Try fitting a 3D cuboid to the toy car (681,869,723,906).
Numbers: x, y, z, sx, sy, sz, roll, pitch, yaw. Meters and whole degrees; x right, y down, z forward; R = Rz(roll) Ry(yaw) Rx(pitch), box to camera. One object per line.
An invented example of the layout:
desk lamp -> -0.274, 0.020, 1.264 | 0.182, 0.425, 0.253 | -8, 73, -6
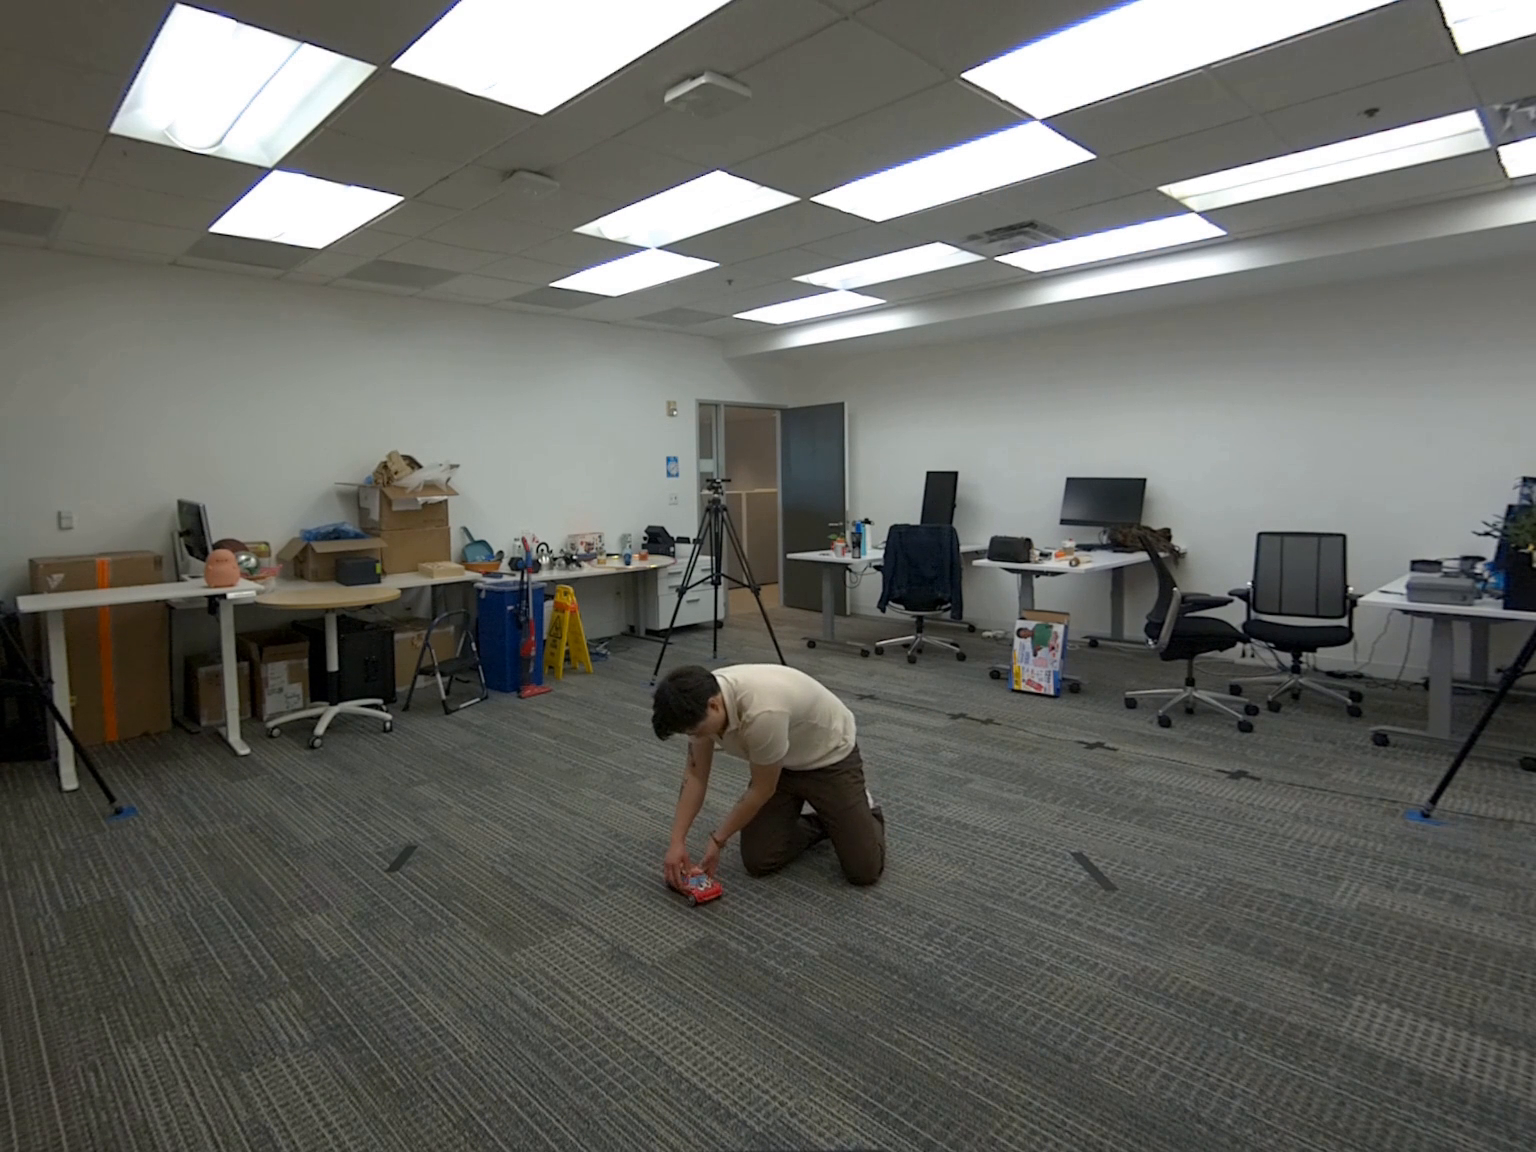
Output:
toy car -> -0.255, 1.041, 2.905 | 0.127, 0.082, 0.264 | -7, 19, -35
